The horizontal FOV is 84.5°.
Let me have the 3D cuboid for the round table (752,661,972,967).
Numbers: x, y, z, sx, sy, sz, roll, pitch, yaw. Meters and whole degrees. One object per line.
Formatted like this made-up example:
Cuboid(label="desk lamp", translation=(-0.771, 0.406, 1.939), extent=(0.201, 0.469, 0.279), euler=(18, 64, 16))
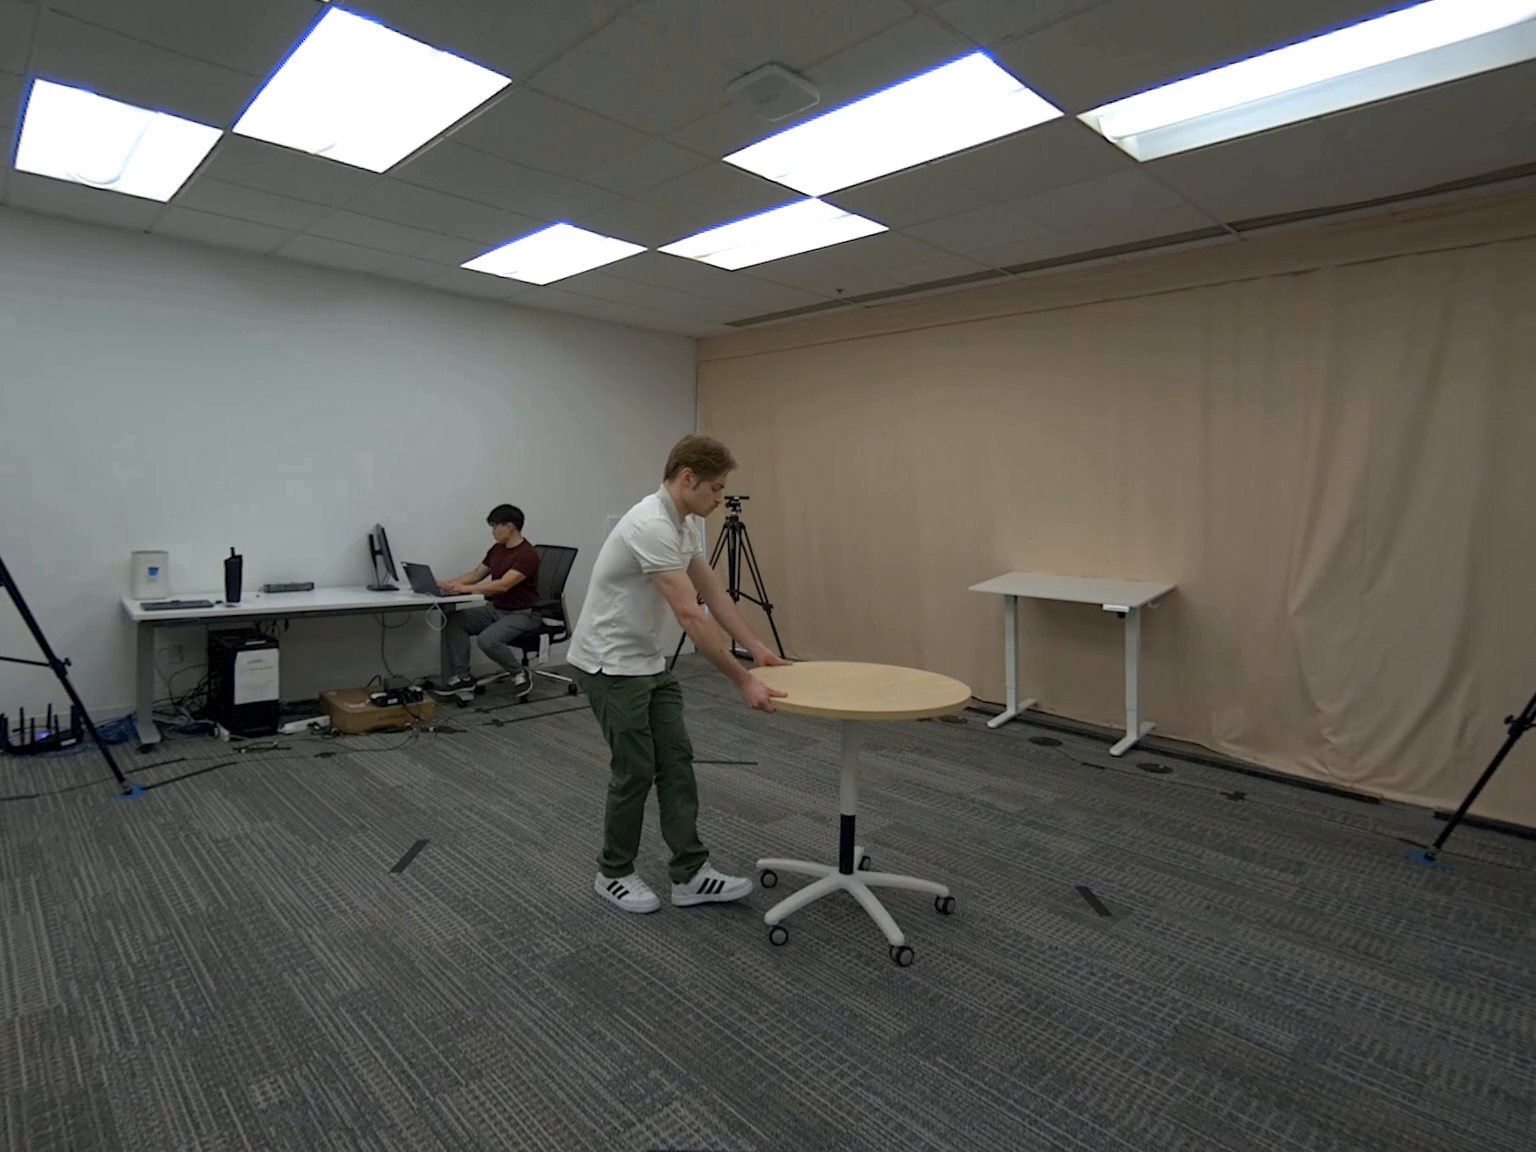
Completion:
Cuboid(label="round table", translation=(0.255, 0.742, 2.817), extent=(0.784, 0.785, 0.787), euler=(1, 4, -1))
